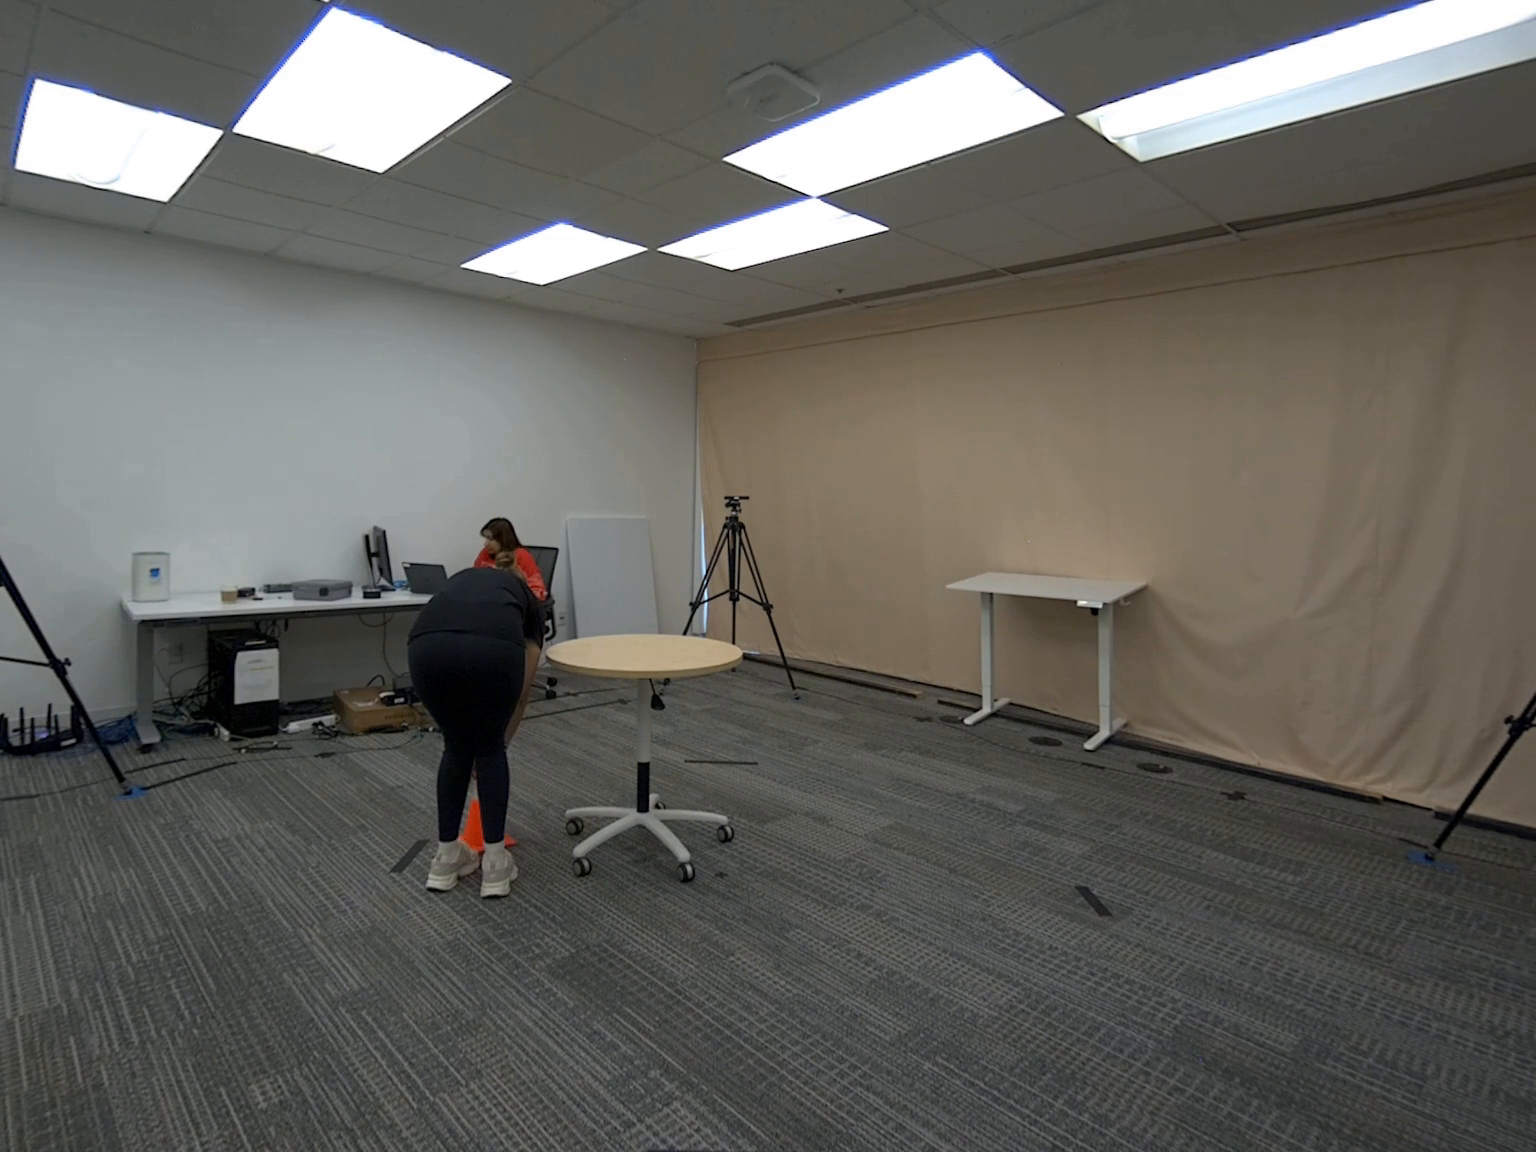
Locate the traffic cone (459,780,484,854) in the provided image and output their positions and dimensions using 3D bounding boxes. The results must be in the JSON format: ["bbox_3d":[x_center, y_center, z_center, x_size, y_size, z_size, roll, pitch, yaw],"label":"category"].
[{"bbox_3d":[-1.142,0.871,3.337,0.200,0.384,0.208,1,-3,-38],"label":"traffic cone"}]
